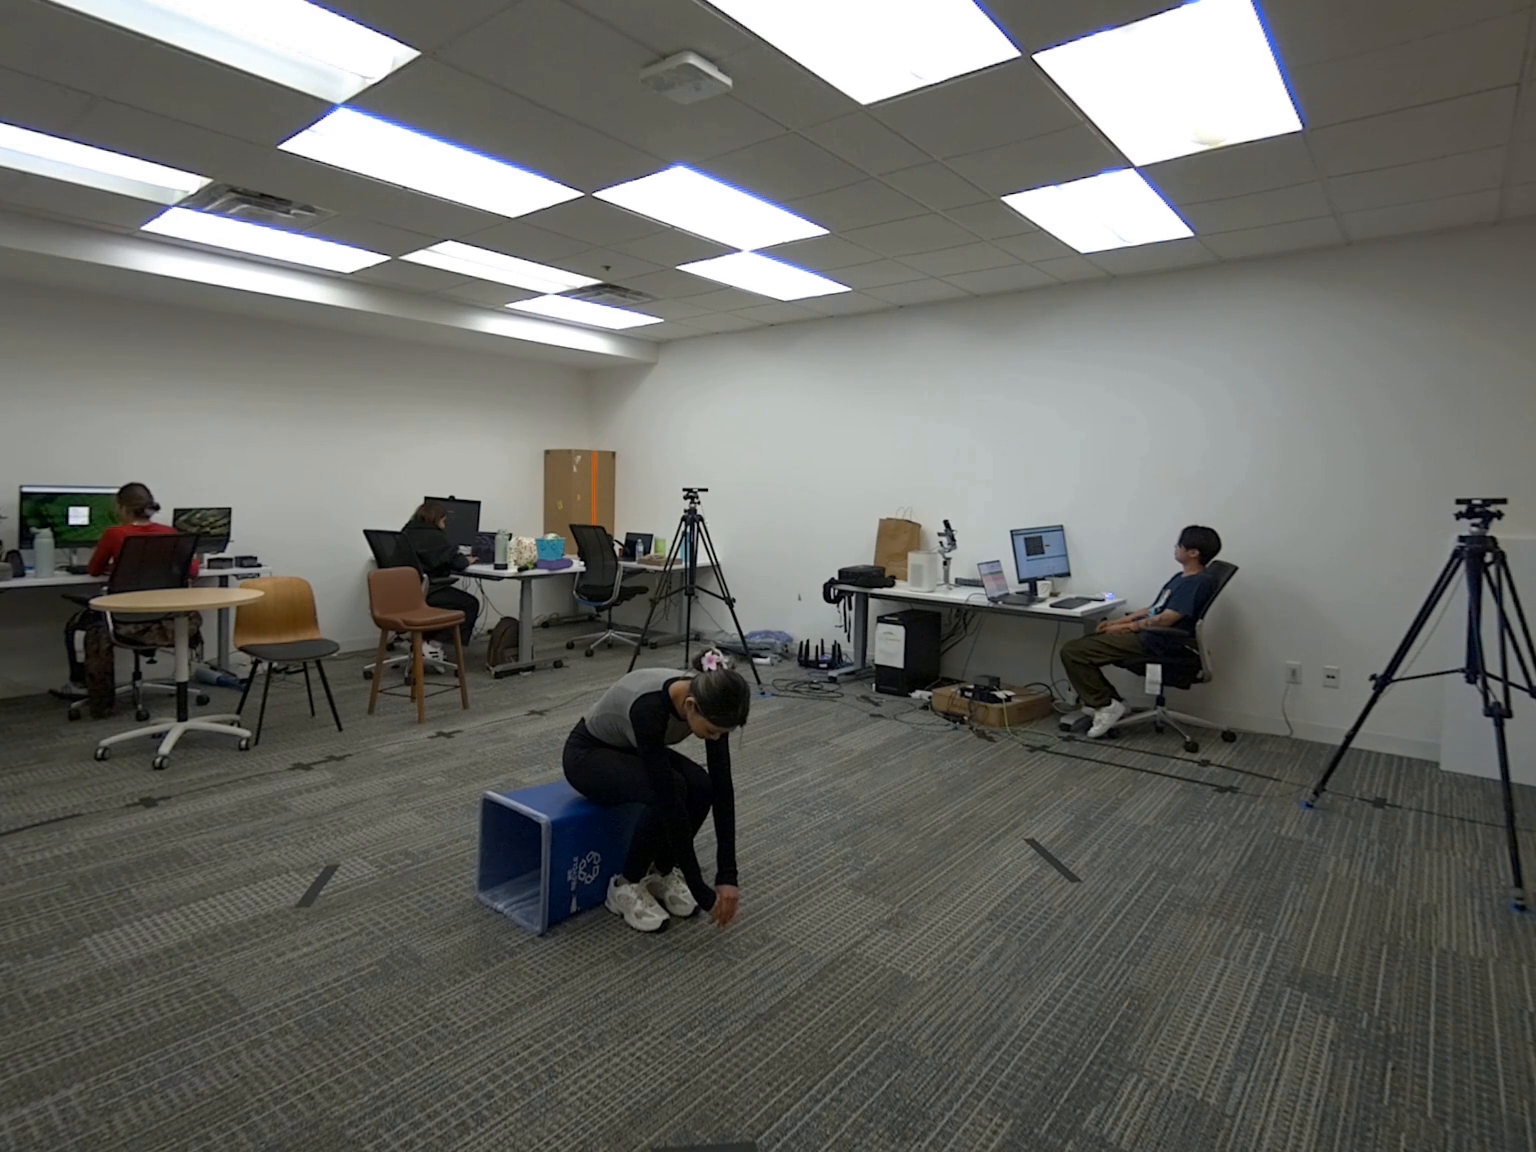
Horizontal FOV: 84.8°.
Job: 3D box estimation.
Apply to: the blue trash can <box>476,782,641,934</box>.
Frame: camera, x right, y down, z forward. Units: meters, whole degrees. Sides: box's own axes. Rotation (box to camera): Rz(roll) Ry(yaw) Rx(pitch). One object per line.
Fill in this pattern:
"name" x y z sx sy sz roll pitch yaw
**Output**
"blue trash can" -0.629 0.897 2.999 0.391 0.373 0.692 4 4 39
